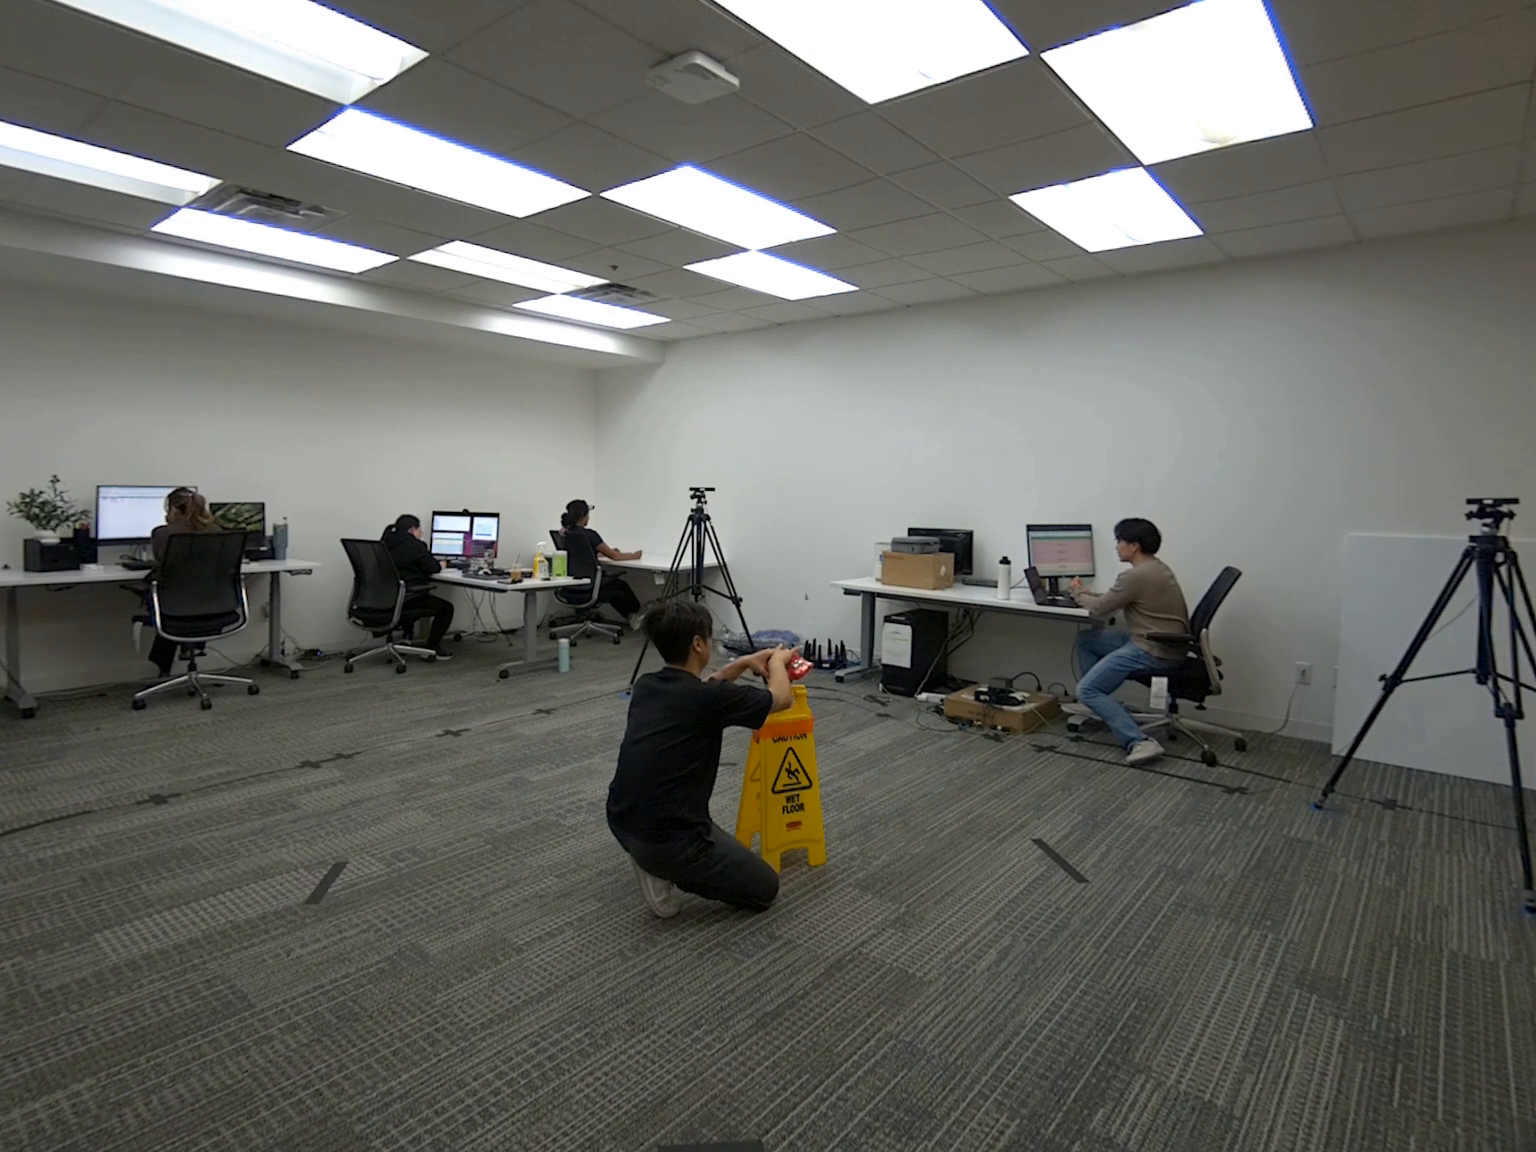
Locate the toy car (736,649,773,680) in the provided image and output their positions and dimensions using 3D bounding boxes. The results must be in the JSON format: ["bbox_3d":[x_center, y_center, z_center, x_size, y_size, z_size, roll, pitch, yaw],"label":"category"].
[{"bbox_3d":[0.053,0.342,3.174,0.261,0.082,0.129,-7,19,48],"label":"toy car"}]
